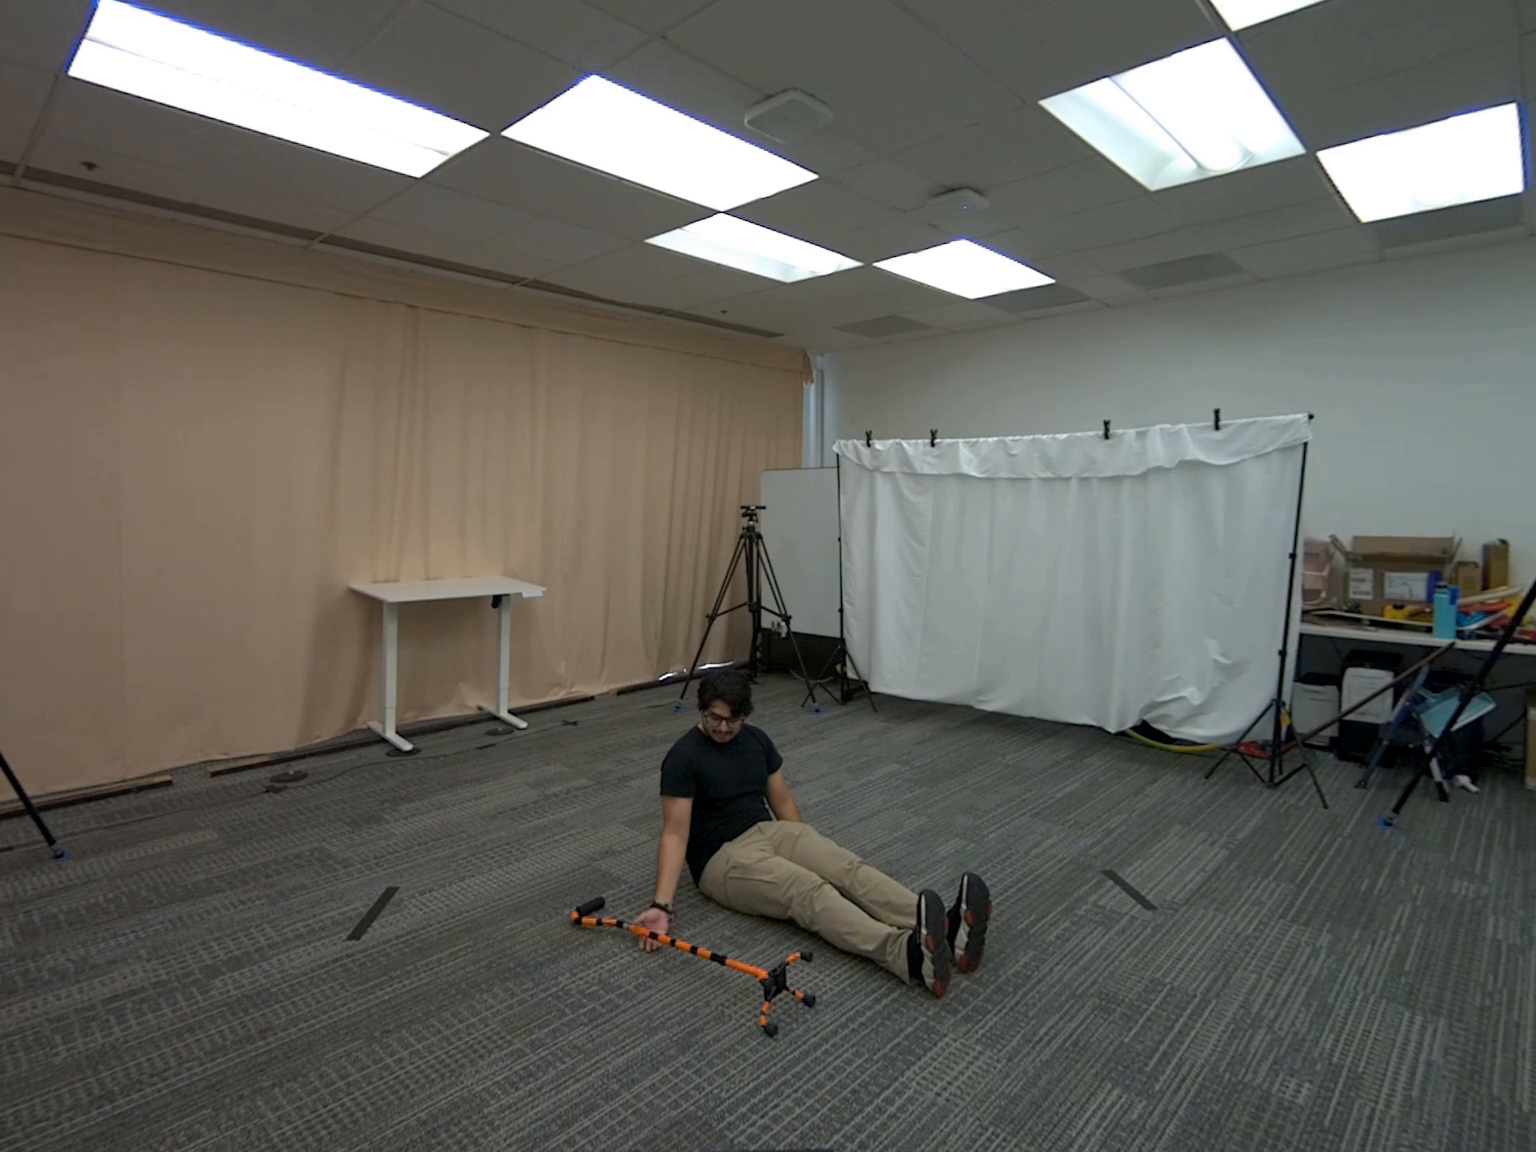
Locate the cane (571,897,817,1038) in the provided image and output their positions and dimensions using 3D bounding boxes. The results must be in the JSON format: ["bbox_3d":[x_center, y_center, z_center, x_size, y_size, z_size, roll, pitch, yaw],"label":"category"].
[{"bbox_3d":[-0.287,1.126,2.578,0.936,0.151,0.200,-2,3,40],"label":"cane"}]
